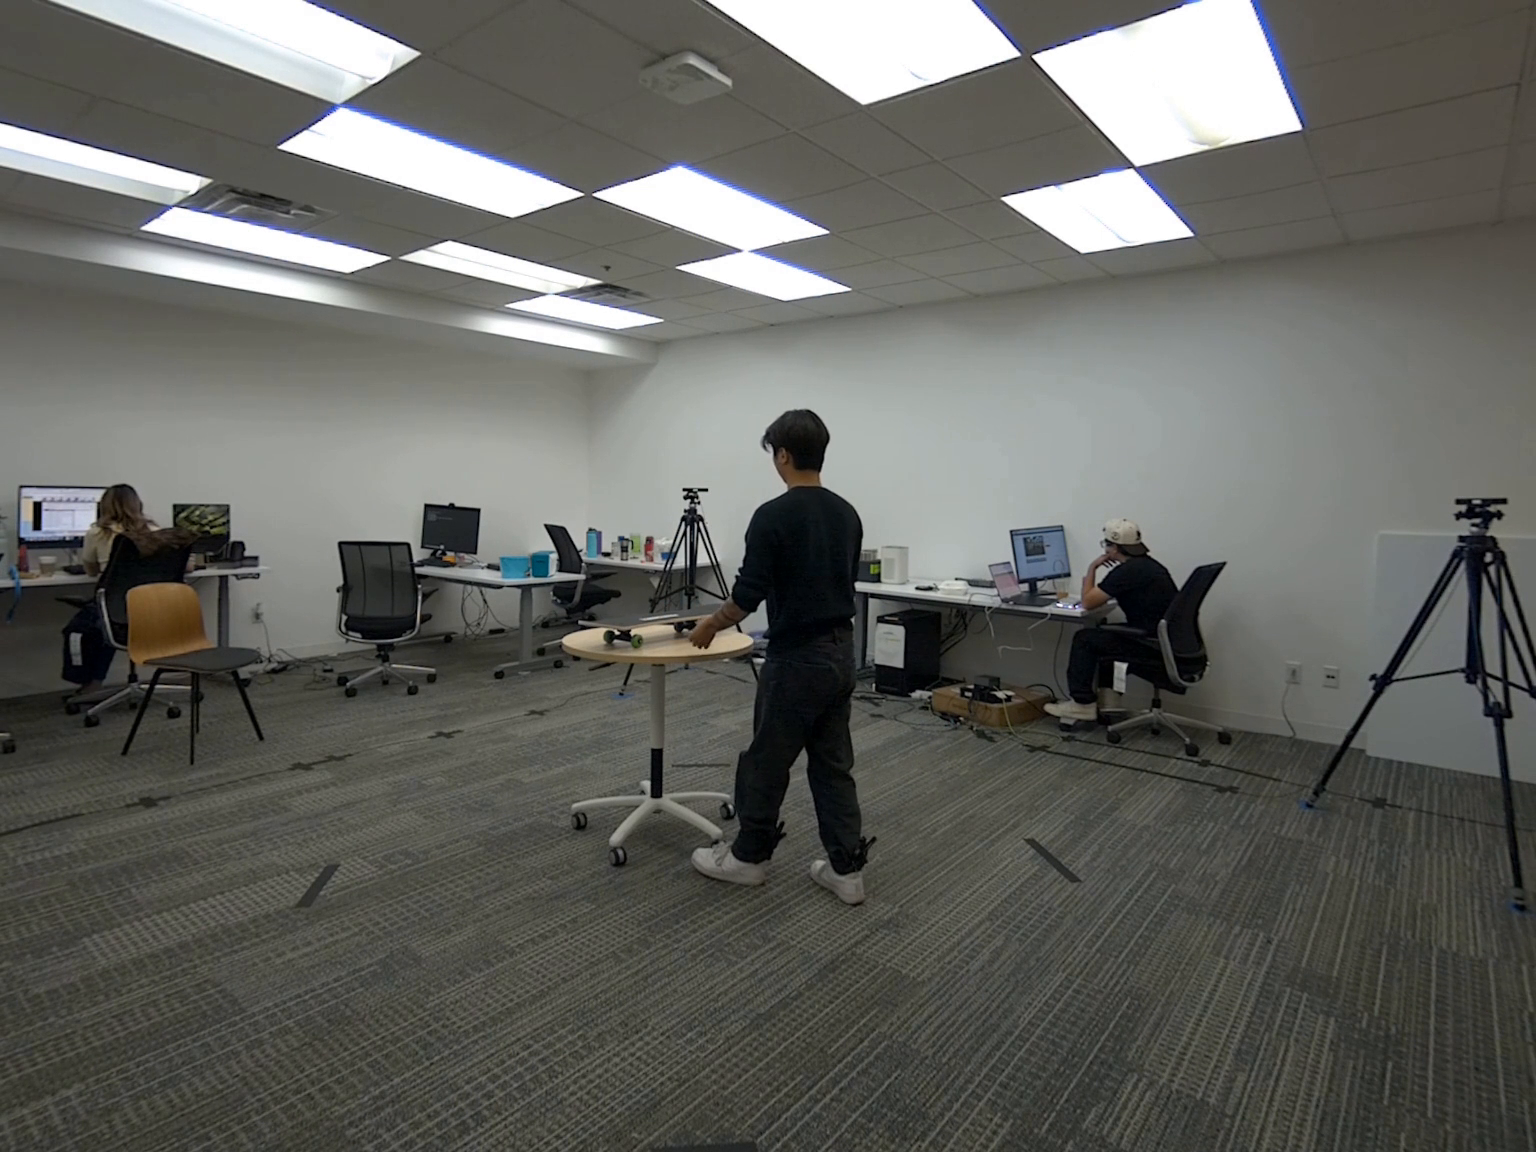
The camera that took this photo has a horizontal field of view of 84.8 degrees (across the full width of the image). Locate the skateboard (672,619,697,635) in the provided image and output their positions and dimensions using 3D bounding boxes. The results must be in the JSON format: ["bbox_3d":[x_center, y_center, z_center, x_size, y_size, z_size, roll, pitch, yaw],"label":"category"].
[{"bbox_3d":[-0.429,0.199,3.421,0.200,0.110,0.763,3,6,37],"label":"skateboard"}]
